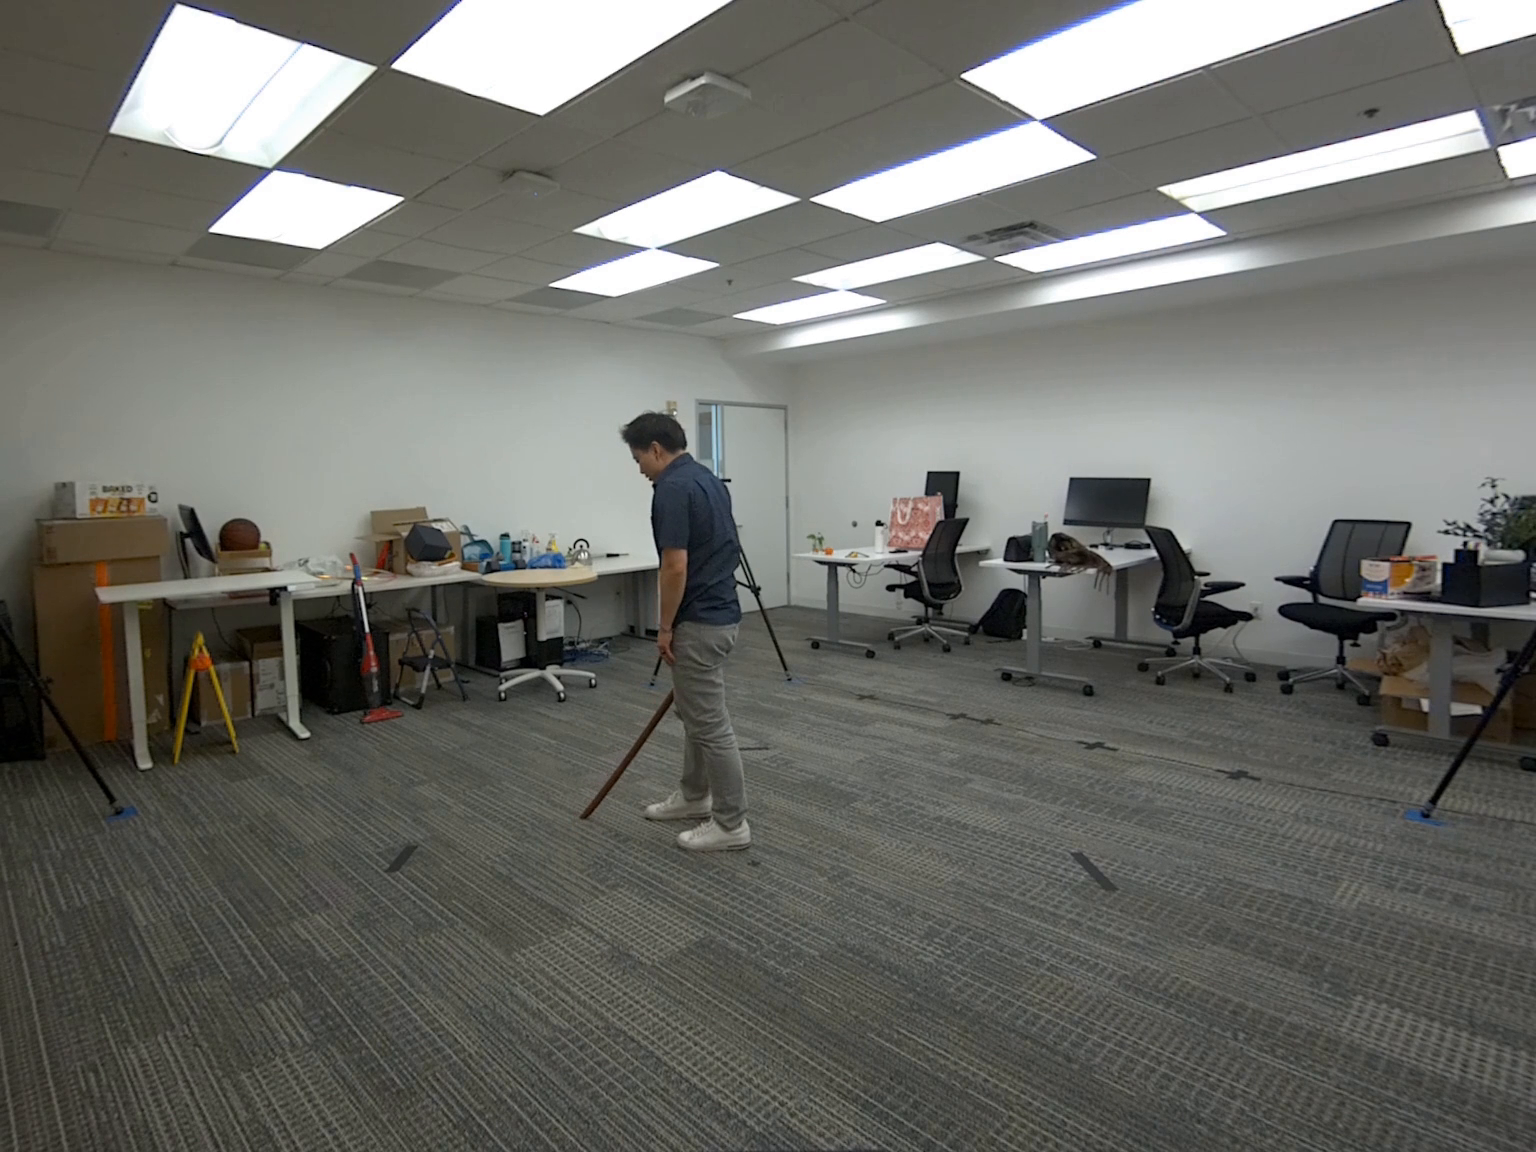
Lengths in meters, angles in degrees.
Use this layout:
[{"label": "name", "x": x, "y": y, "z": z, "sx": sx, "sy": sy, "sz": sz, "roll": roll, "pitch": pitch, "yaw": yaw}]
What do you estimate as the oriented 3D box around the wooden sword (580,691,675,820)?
[{"label": "wooden sword", "x": -0.485, "y": 0.605, "z": 3.569, "sx": 0.023, "sy": 1.025, "sz": 0.053, "roll": 37, "pitch": -5, "yaw": -37}]
